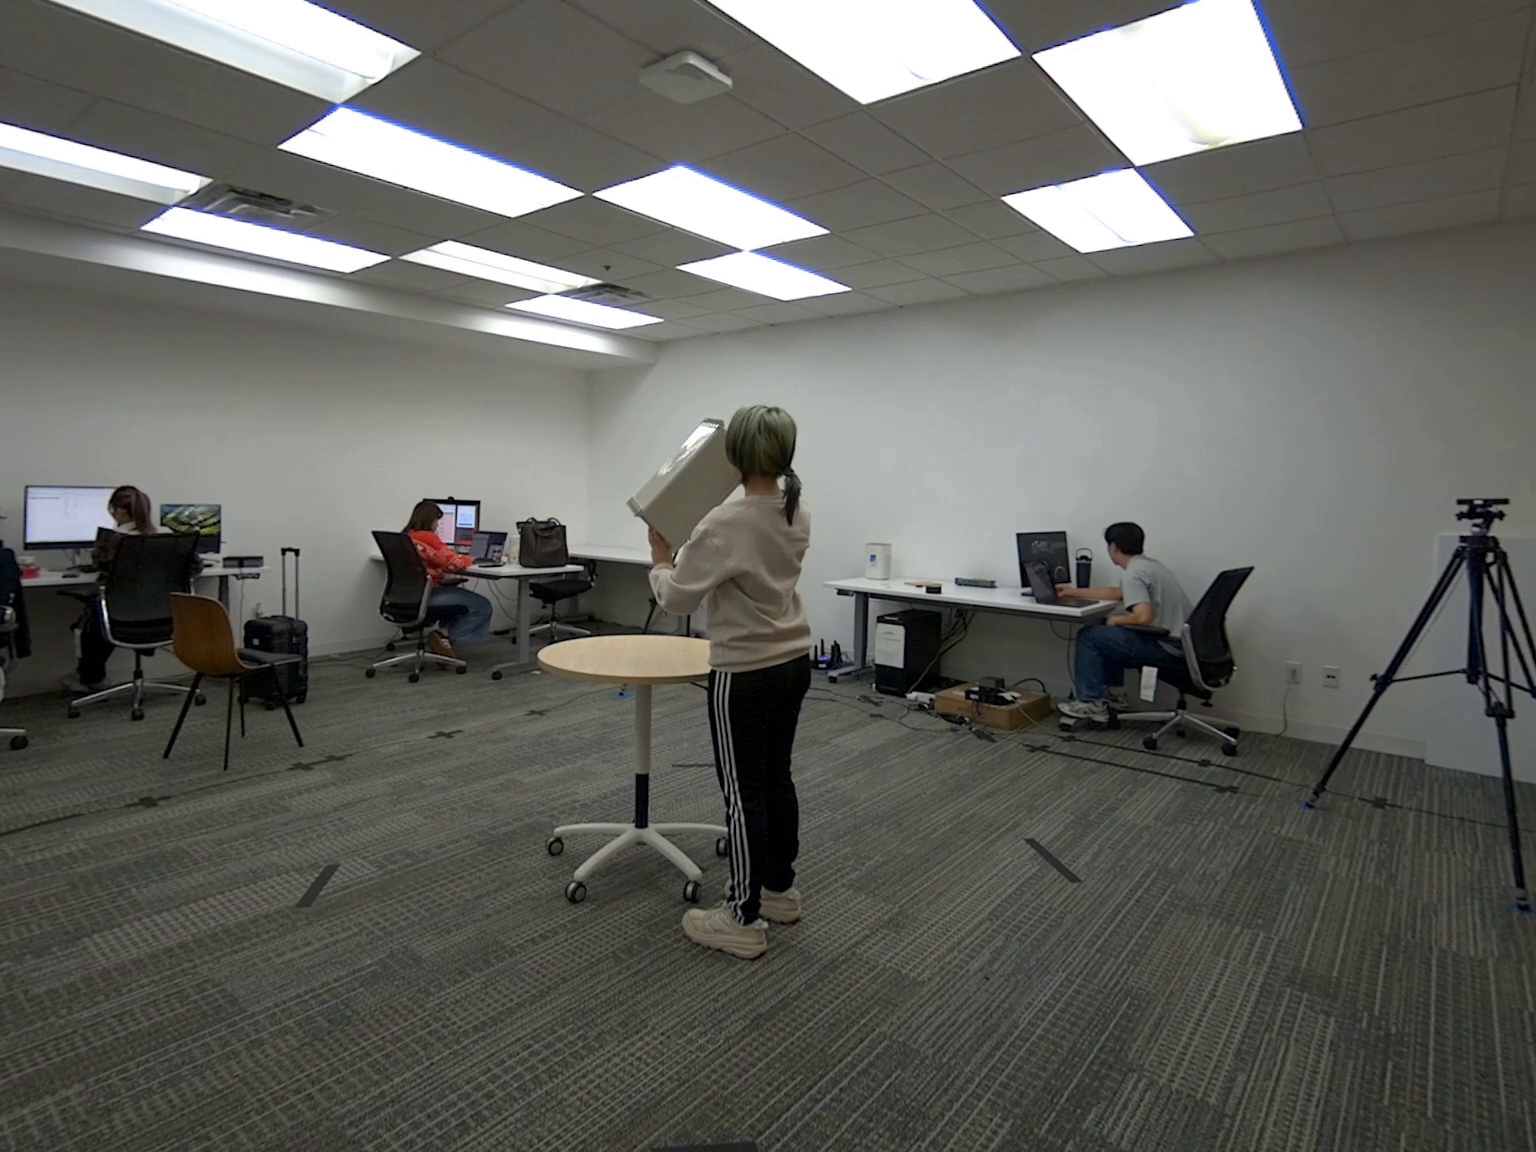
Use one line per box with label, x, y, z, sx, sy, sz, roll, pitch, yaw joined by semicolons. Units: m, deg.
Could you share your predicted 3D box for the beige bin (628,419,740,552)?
beige bin;-0.266;-0.320;2.865;0.185;0.422;0.385;44;-1;-16
